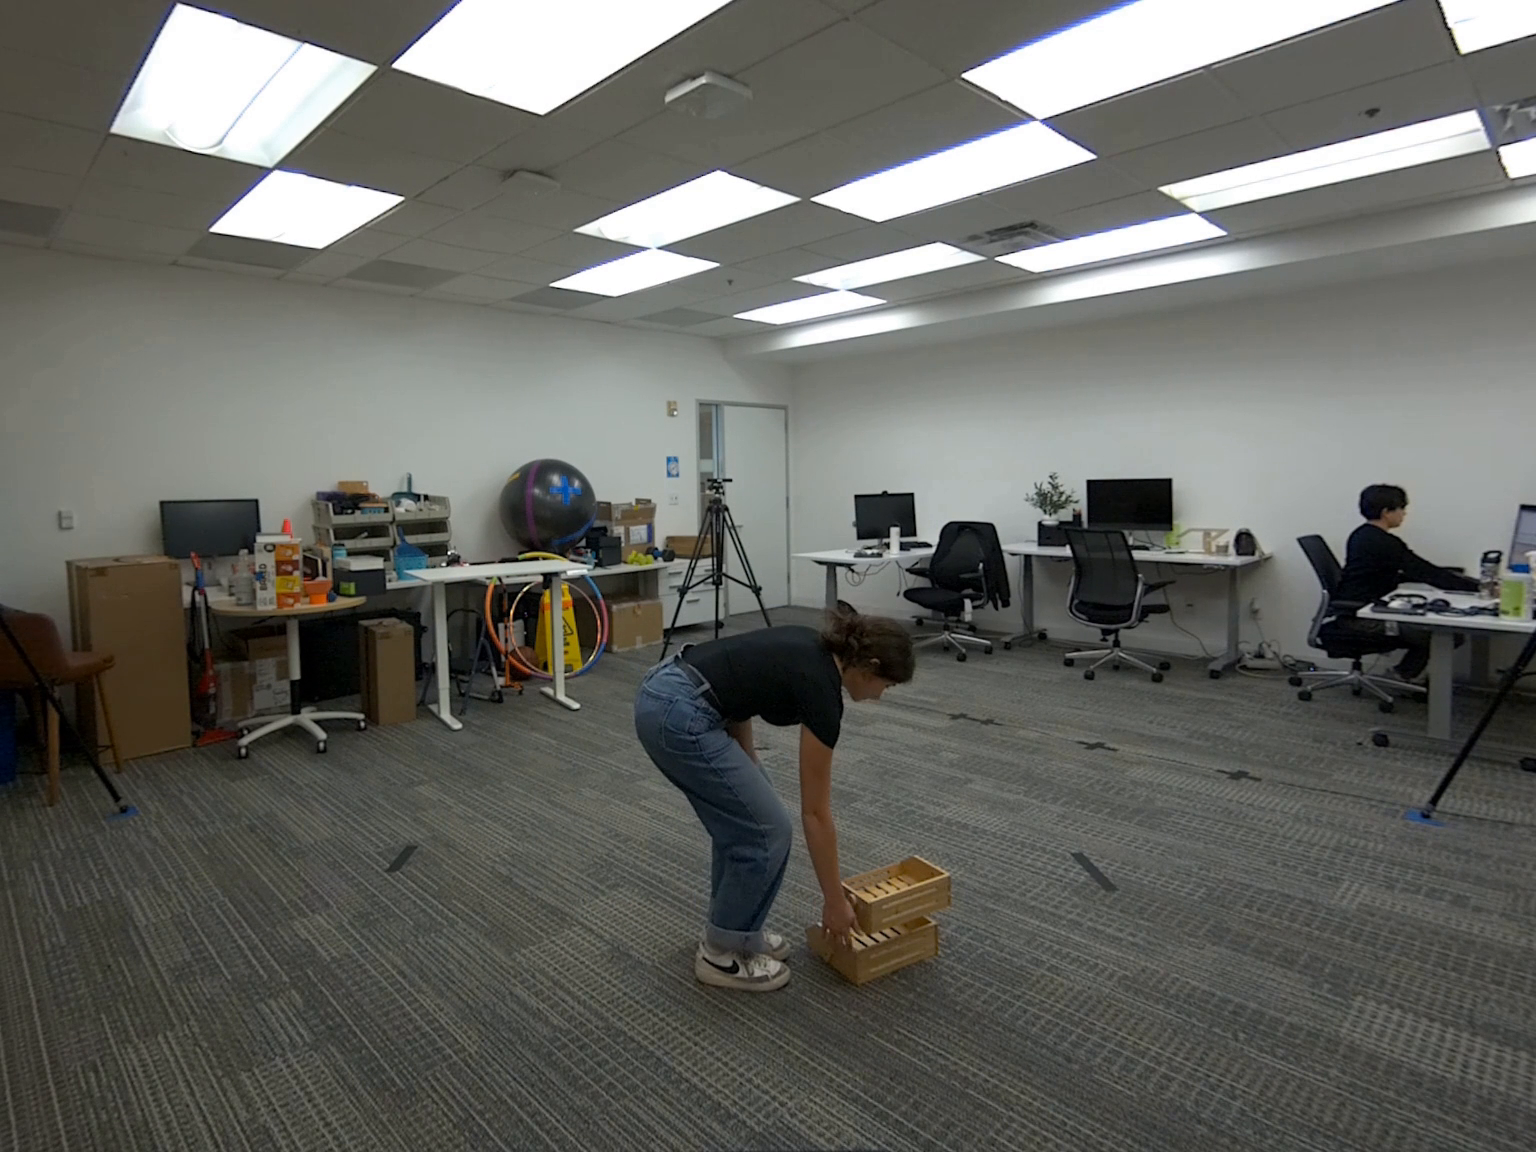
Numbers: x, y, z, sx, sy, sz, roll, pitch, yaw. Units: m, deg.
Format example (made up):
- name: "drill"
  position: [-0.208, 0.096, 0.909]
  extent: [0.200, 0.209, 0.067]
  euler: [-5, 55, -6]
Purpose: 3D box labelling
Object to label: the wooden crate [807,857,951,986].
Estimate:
- name: "wooden crate"
  position: [0.321, 0.974, 2.500]
  extent: [0.317, 0.272, 0.311]
  euler: [-5, 7, -32]
